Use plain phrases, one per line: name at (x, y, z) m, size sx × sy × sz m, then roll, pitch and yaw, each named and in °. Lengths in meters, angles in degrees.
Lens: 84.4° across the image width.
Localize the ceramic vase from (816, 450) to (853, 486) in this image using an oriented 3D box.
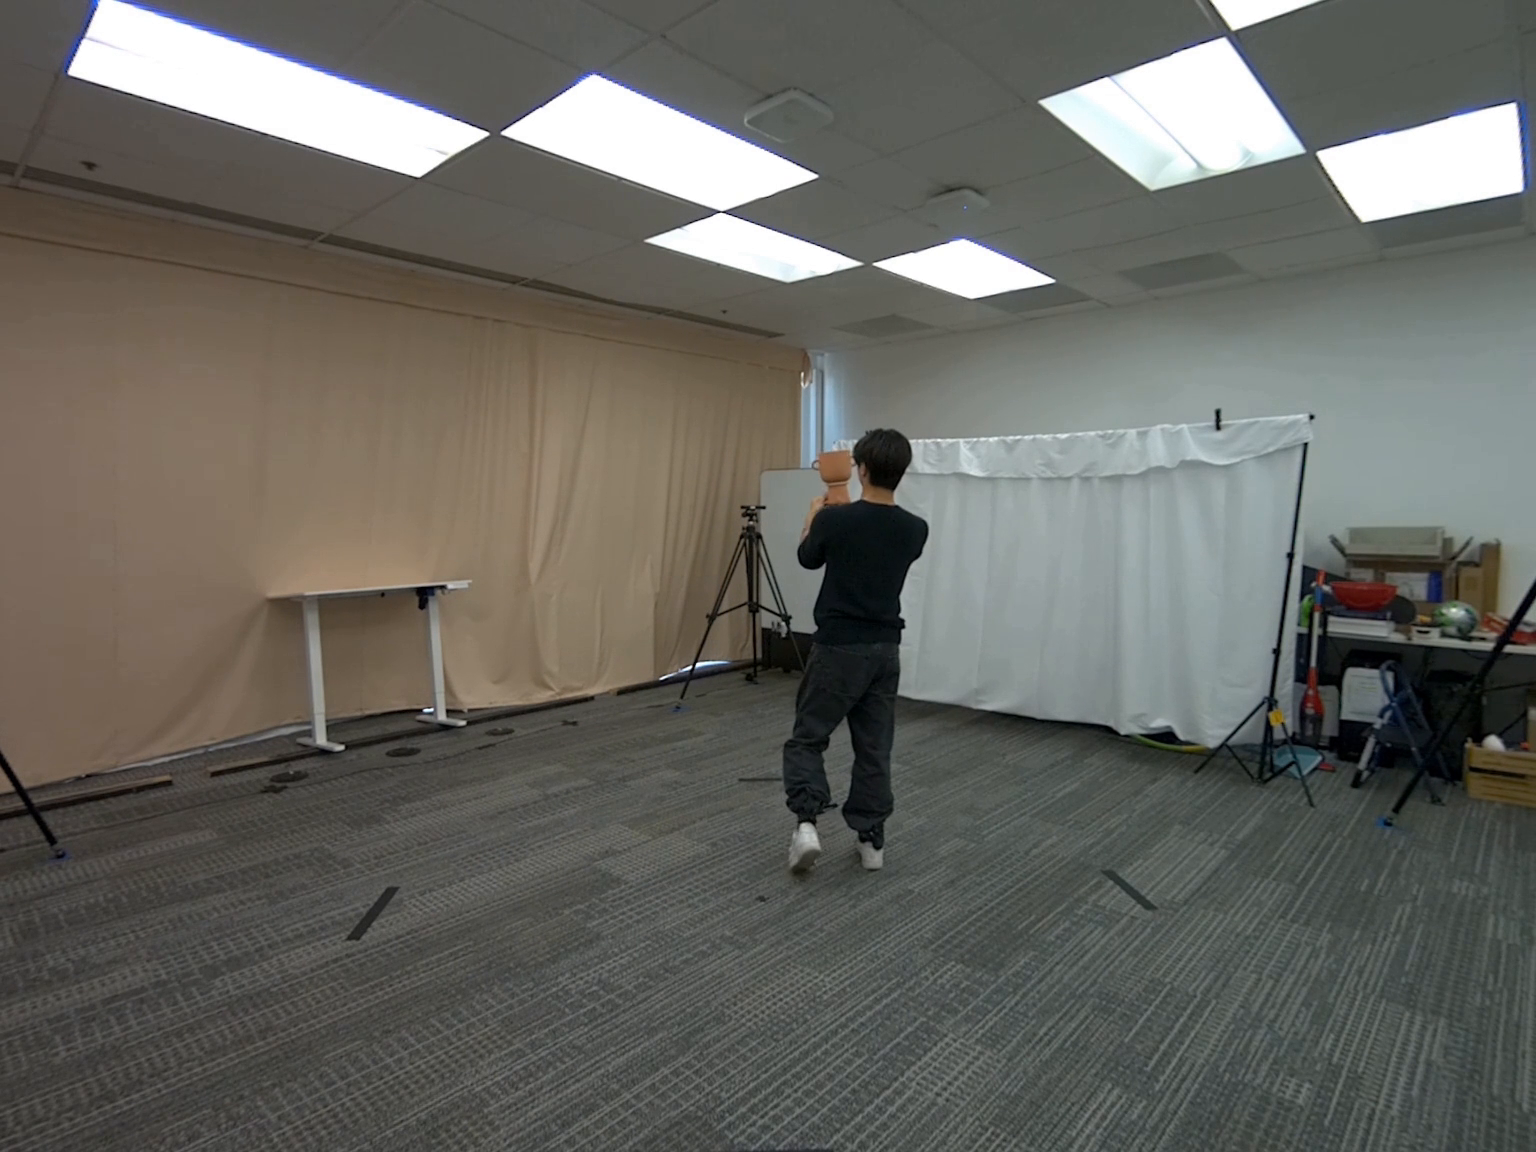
ceramic vase at (0.291, -0.417, 3.557) m, size 0.164 × 0.219 × 0.131 m, roll -1°, pitch 7°, yaw 45°
